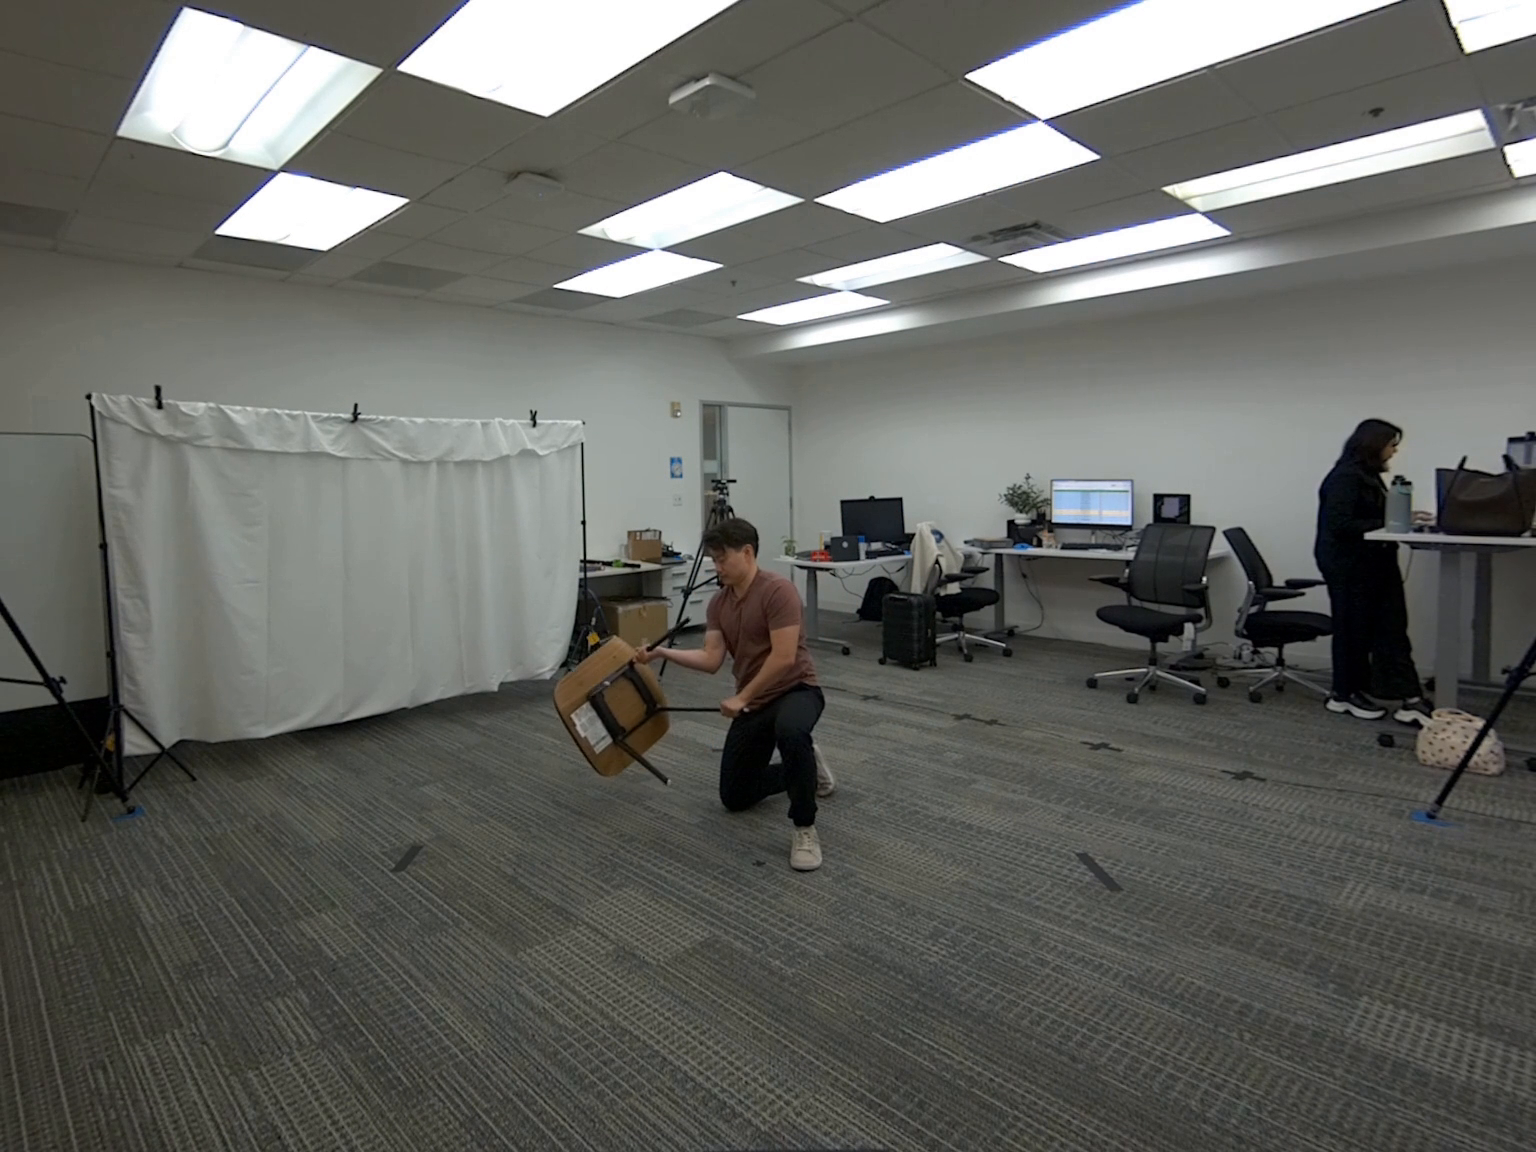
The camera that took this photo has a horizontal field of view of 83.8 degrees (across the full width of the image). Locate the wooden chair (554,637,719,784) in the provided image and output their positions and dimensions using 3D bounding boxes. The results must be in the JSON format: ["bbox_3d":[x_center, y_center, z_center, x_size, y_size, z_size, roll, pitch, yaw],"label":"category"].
[{"bbox_3d":[-0.592,0.525,3.524,0.519,0.472,0.895,-35,13,-32],"label":"wooden chair"}]
